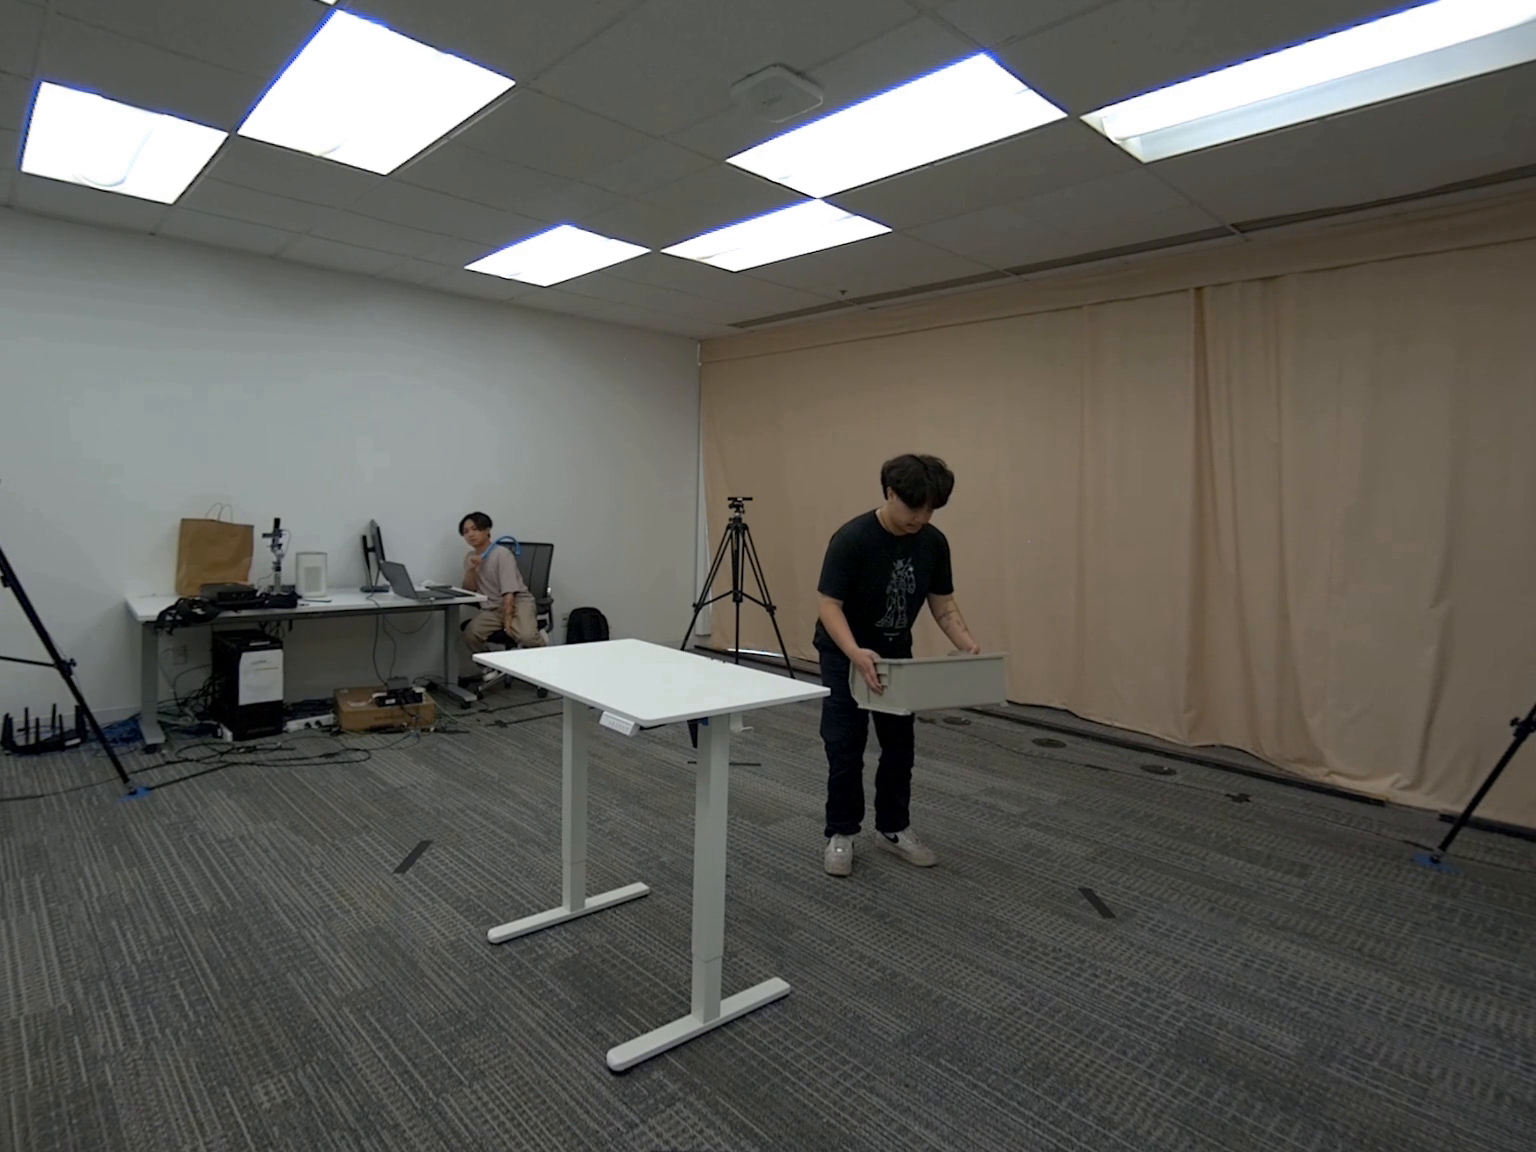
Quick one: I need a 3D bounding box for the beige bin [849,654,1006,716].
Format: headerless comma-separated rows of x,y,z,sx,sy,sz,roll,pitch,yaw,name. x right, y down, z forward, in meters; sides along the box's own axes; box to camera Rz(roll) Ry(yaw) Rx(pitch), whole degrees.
0.549,0.367,2.952,0.416,0.189,0.382,-1,-1,-20,beige bin
